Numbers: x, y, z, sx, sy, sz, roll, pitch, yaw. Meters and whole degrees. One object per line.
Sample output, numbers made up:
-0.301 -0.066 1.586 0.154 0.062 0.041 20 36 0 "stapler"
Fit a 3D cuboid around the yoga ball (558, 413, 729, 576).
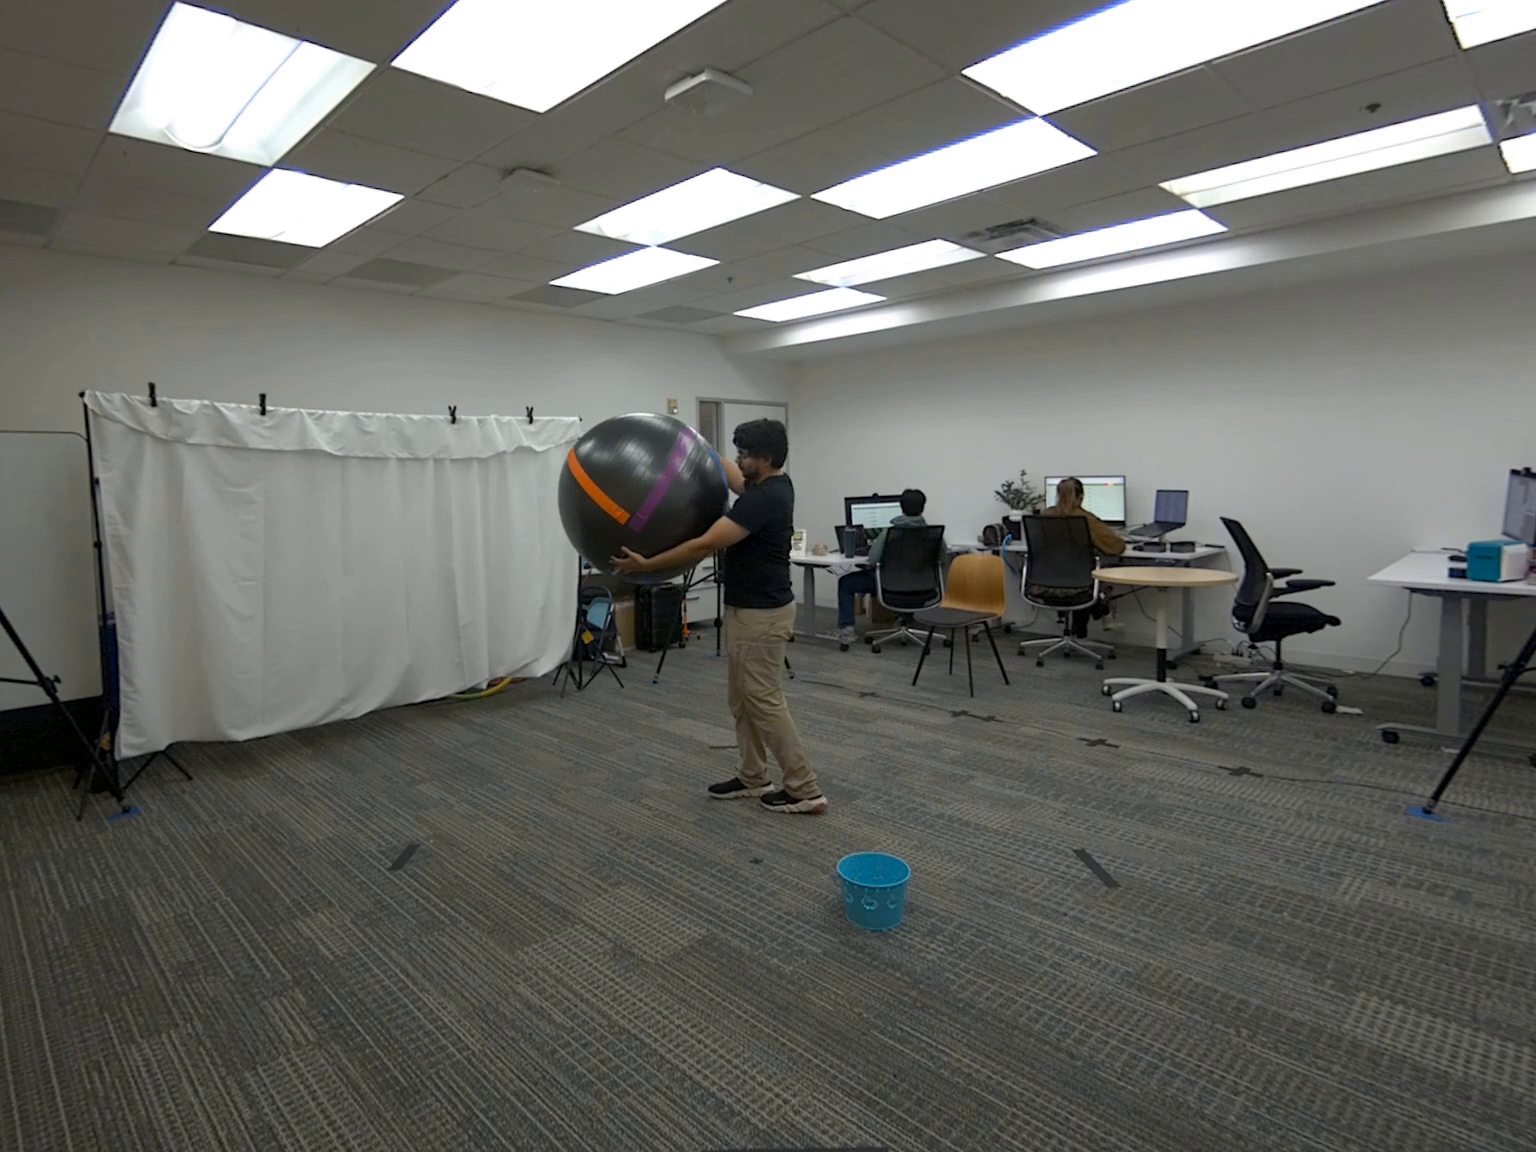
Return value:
-0.561 -0.335 3.803 0.757 0.755 0.762 -1 5 -2 "yoga ball"
